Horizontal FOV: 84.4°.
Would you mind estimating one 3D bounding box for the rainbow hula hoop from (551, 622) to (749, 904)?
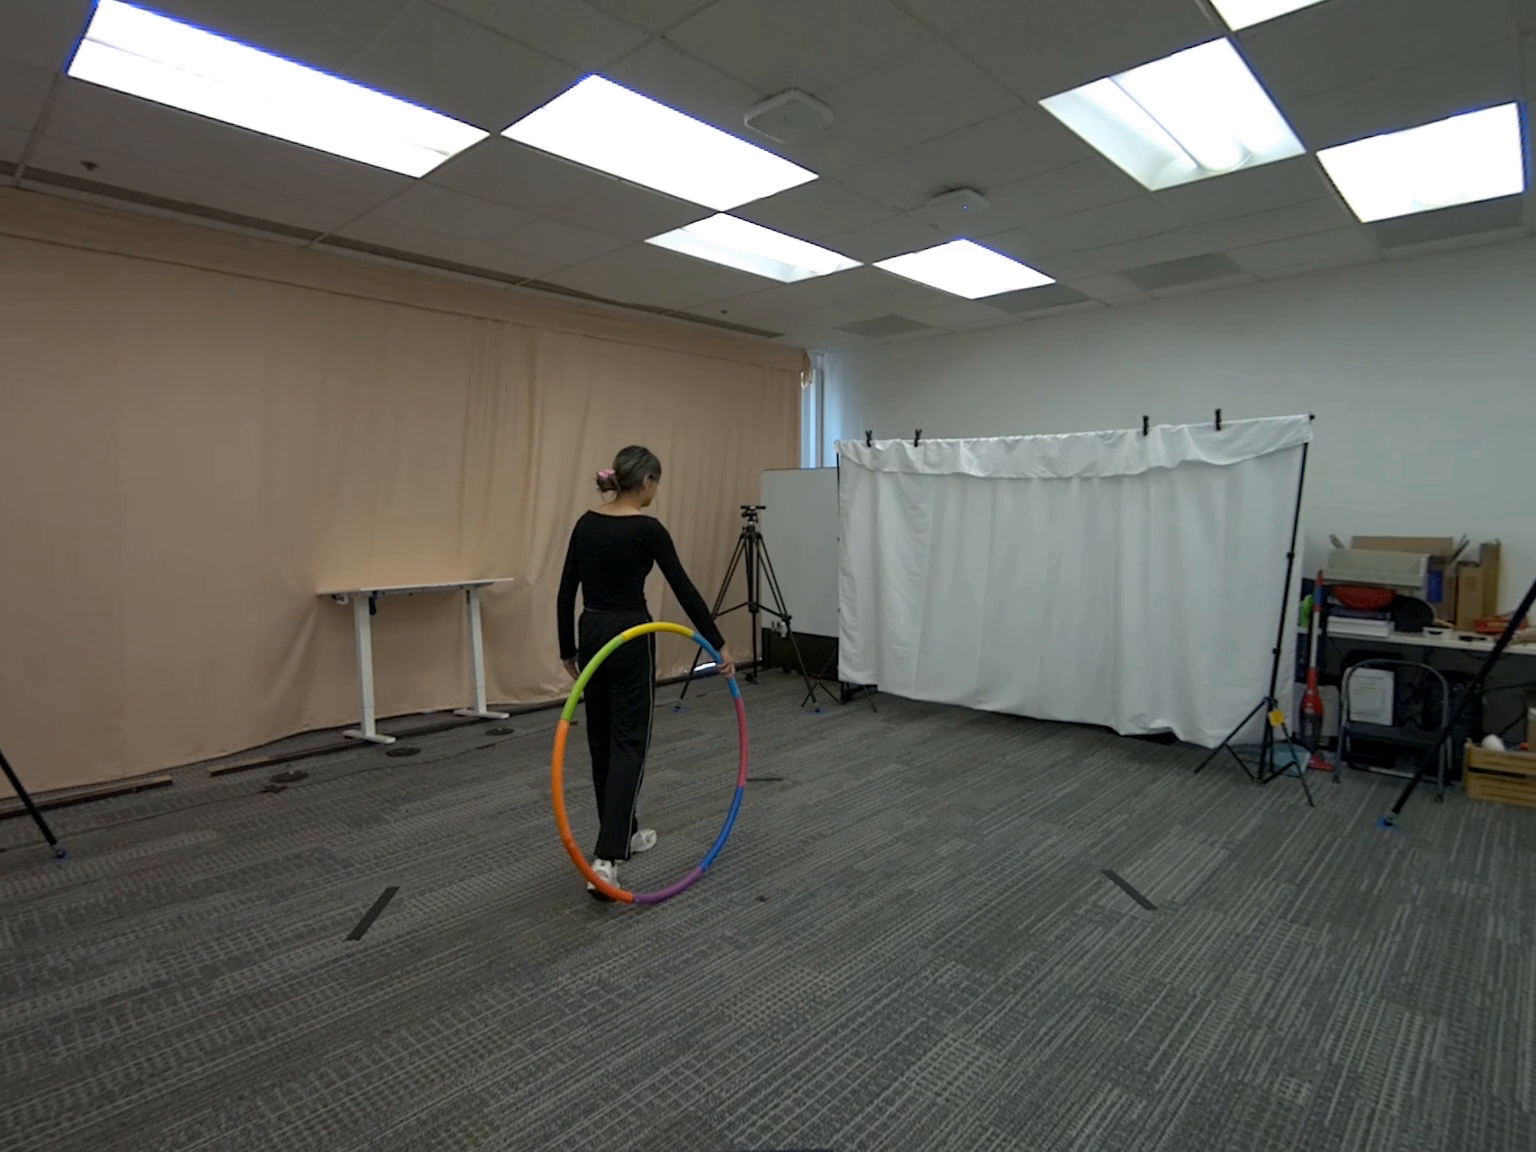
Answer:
[{"bbox_3d":[-0.381,0.662,3.043,0.036,0.979,0.949,-7,-1,38],"label":"rainbow hula hoop"}]
